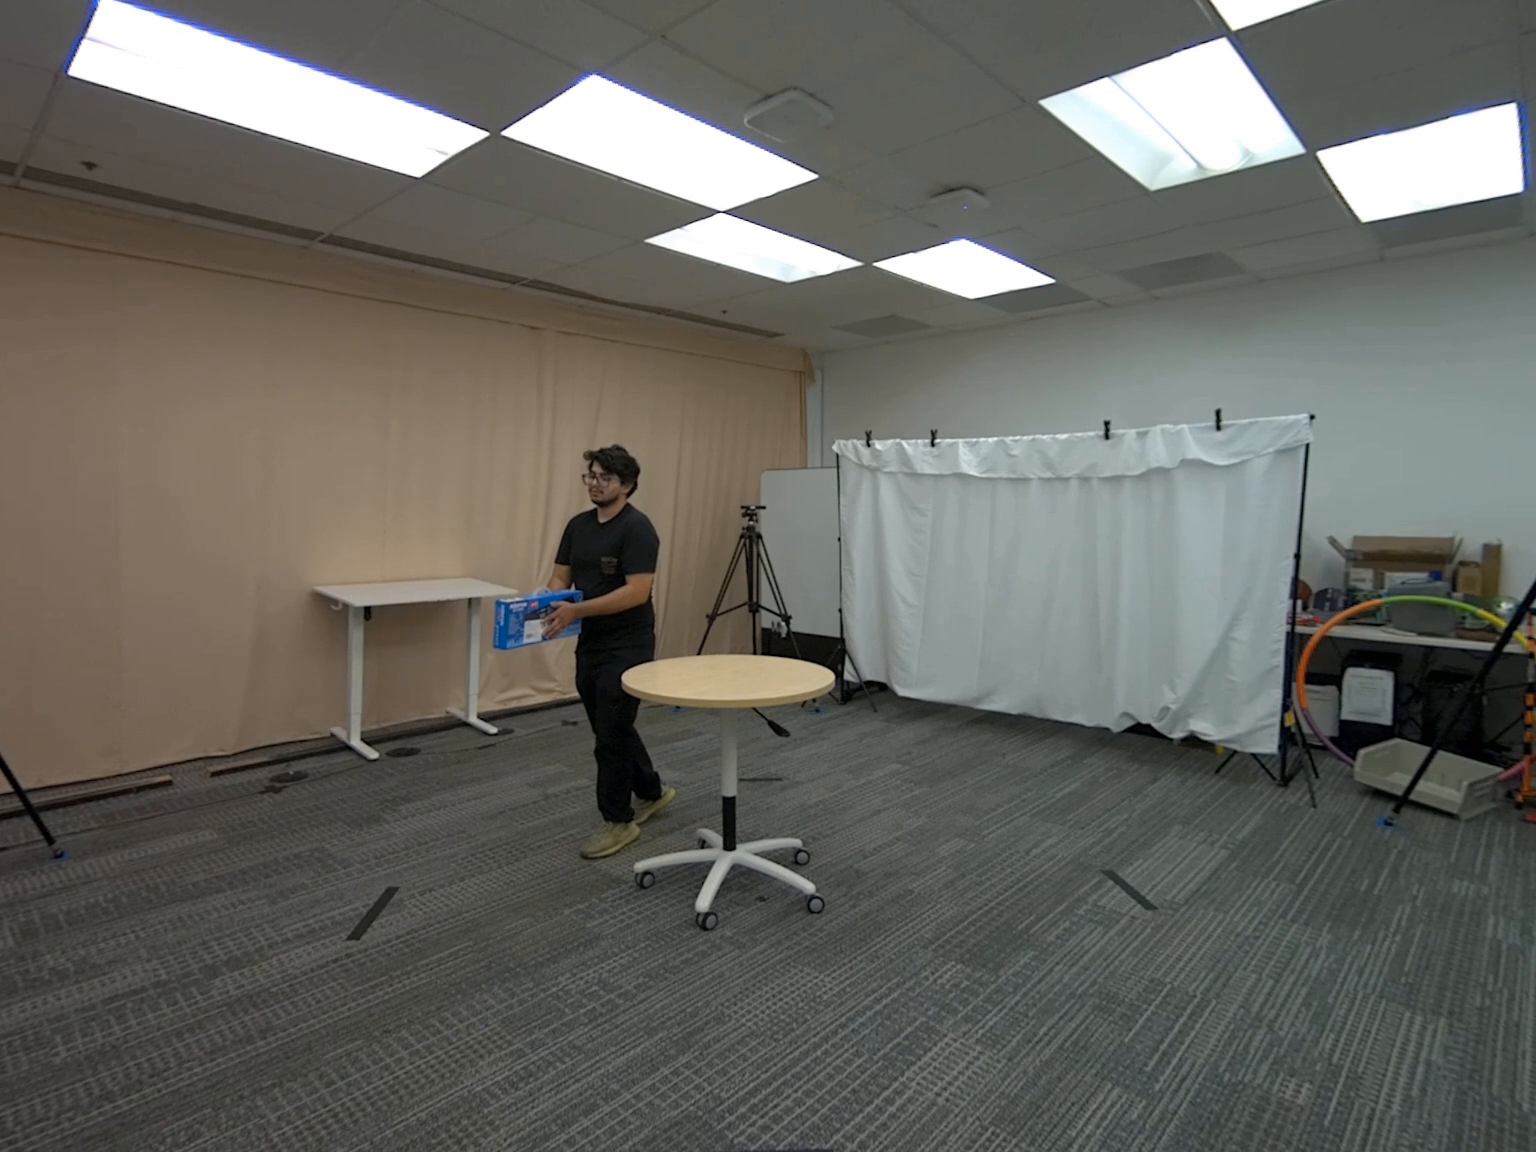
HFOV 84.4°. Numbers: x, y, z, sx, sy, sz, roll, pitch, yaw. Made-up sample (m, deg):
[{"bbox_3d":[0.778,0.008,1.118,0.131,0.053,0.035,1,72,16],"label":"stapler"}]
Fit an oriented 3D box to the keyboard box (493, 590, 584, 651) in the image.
[{"bbox_3d":[-0.850,0.160,3.155,0.061,0.175,0.427,7,7,24],"label":"keyboard box"}]
